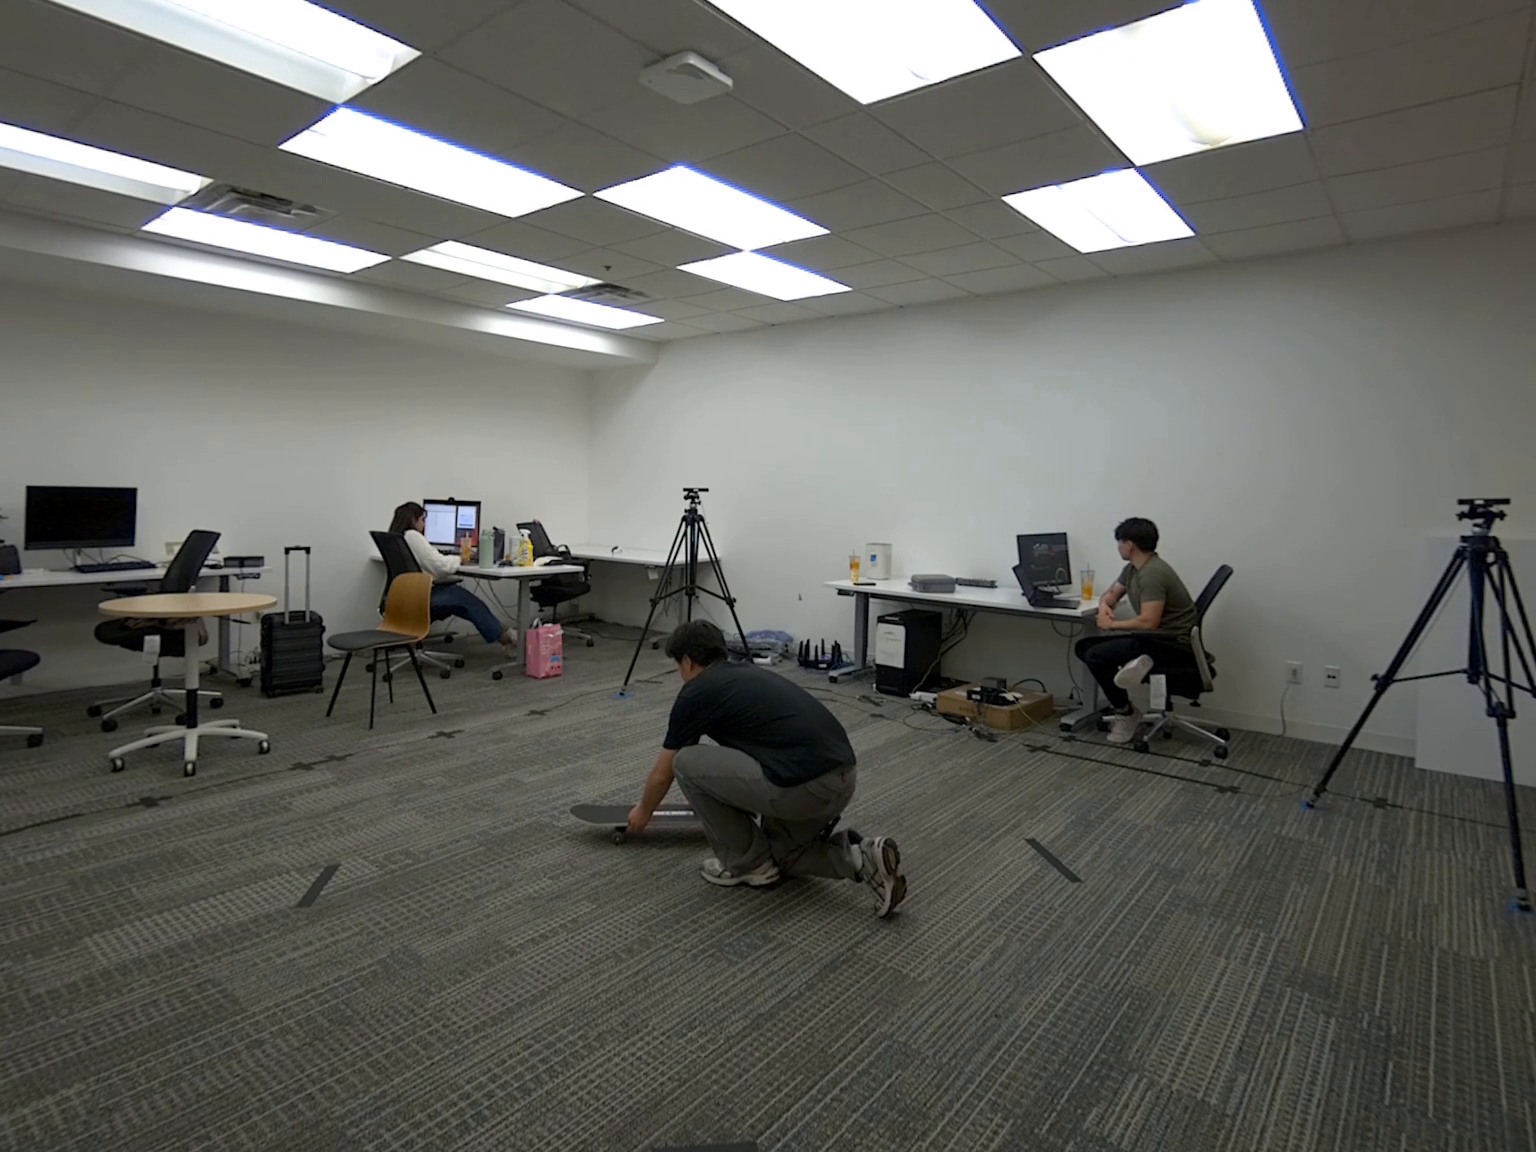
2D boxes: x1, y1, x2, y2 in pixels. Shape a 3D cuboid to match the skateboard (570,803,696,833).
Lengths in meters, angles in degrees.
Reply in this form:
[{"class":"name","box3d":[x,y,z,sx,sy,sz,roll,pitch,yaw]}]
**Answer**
[{"class":"skateboard","box3d":[-0.415,0.974,3.404,0.781,0.110,0.195,1,5,-6]}]
